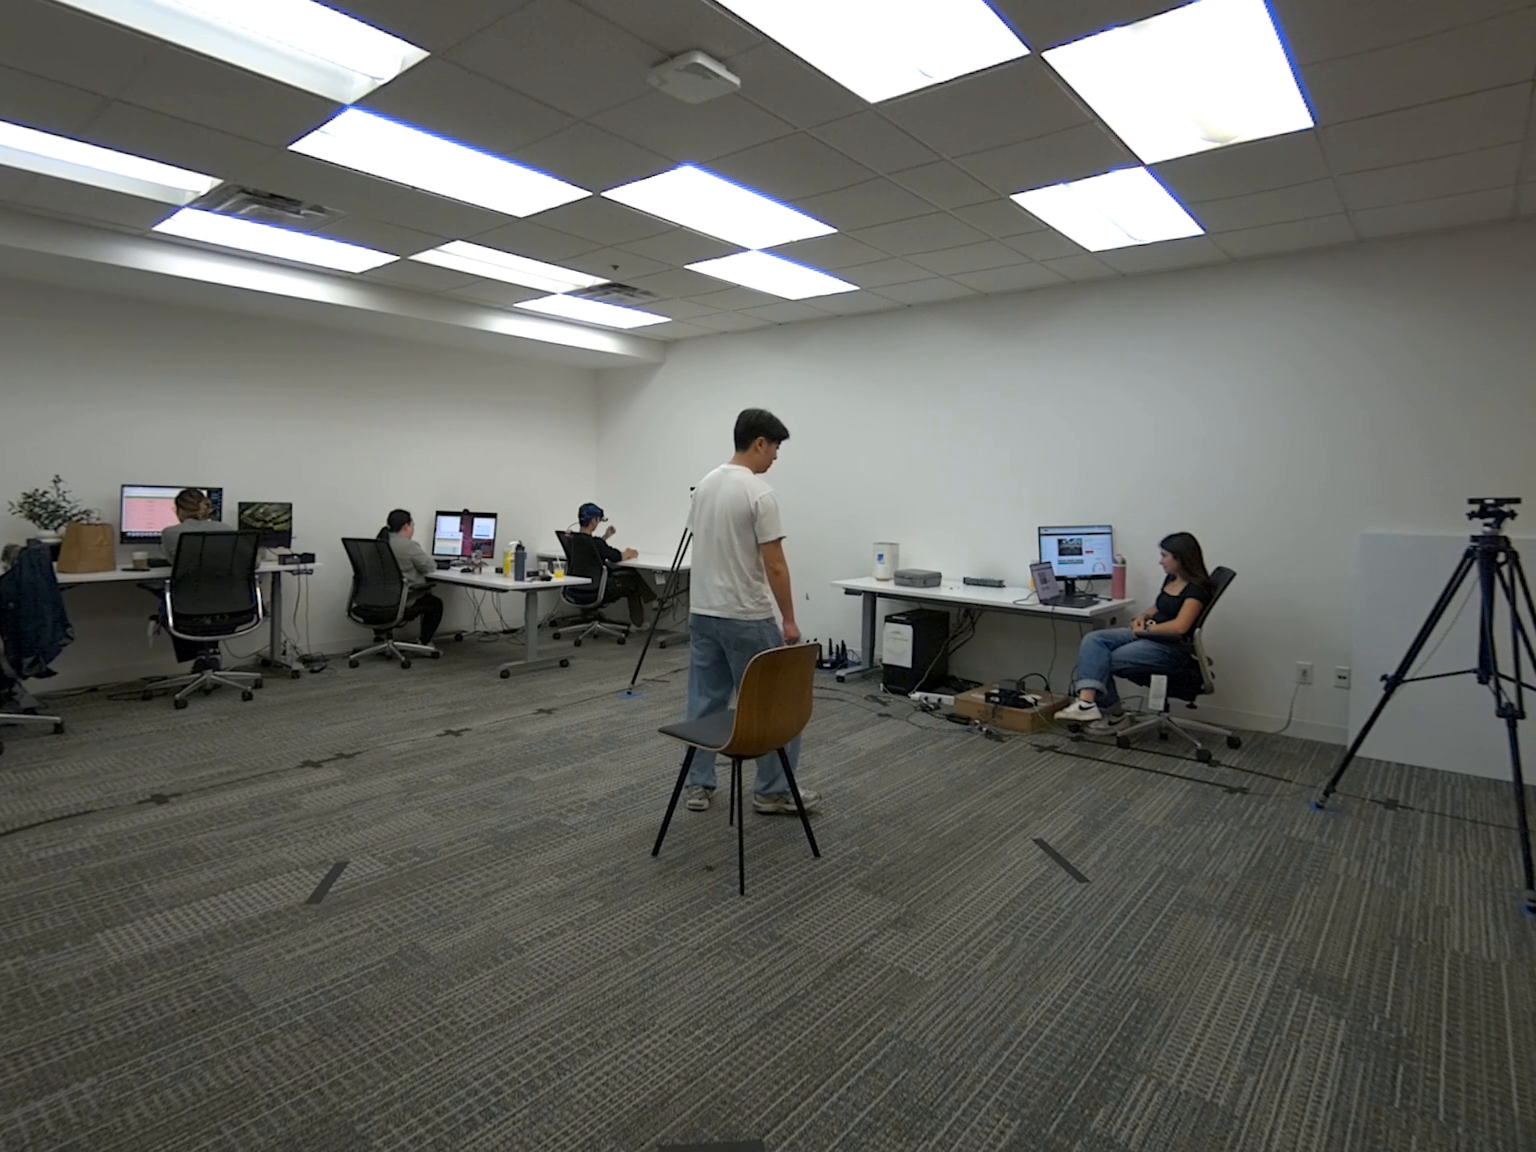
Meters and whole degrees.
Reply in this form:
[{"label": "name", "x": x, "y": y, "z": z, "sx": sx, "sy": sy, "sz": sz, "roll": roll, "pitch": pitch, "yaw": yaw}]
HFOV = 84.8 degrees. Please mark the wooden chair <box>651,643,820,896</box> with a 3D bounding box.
[{"label": "wooden chair", "x": -0.124, "y": 0.631, "z": 3.194, "sx": 0.542, "sy": 0.873, "sz": 0.463, "roll": 10, "pitch": 8, "yaw": 40}]
